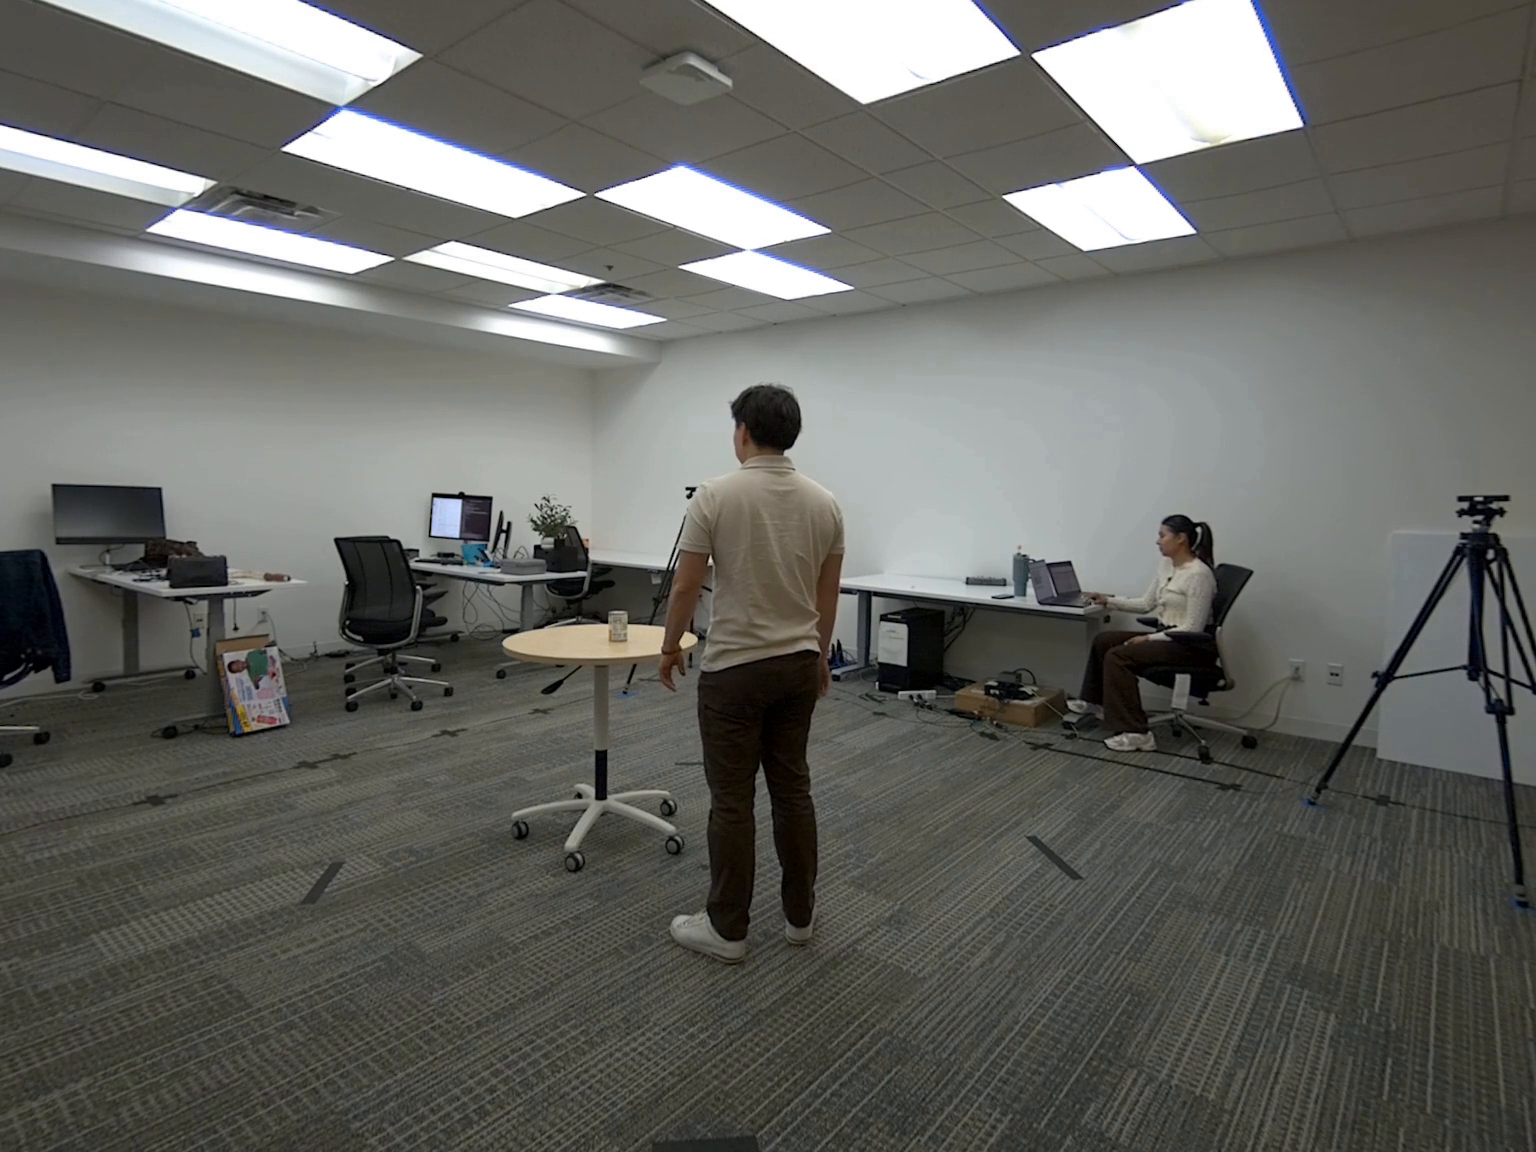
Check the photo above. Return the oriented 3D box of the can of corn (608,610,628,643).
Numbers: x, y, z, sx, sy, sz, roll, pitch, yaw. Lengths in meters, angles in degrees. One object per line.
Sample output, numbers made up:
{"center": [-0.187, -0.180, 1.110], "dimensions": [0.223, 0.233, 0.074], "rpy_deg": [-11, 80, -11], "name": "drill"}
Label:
{"center": [-0.606, 0.196, 3.353], "dimensions": [0.074, 0.111, 0.074], "rpy_deg": [0, 3, -2], "name": "can of corn"}
